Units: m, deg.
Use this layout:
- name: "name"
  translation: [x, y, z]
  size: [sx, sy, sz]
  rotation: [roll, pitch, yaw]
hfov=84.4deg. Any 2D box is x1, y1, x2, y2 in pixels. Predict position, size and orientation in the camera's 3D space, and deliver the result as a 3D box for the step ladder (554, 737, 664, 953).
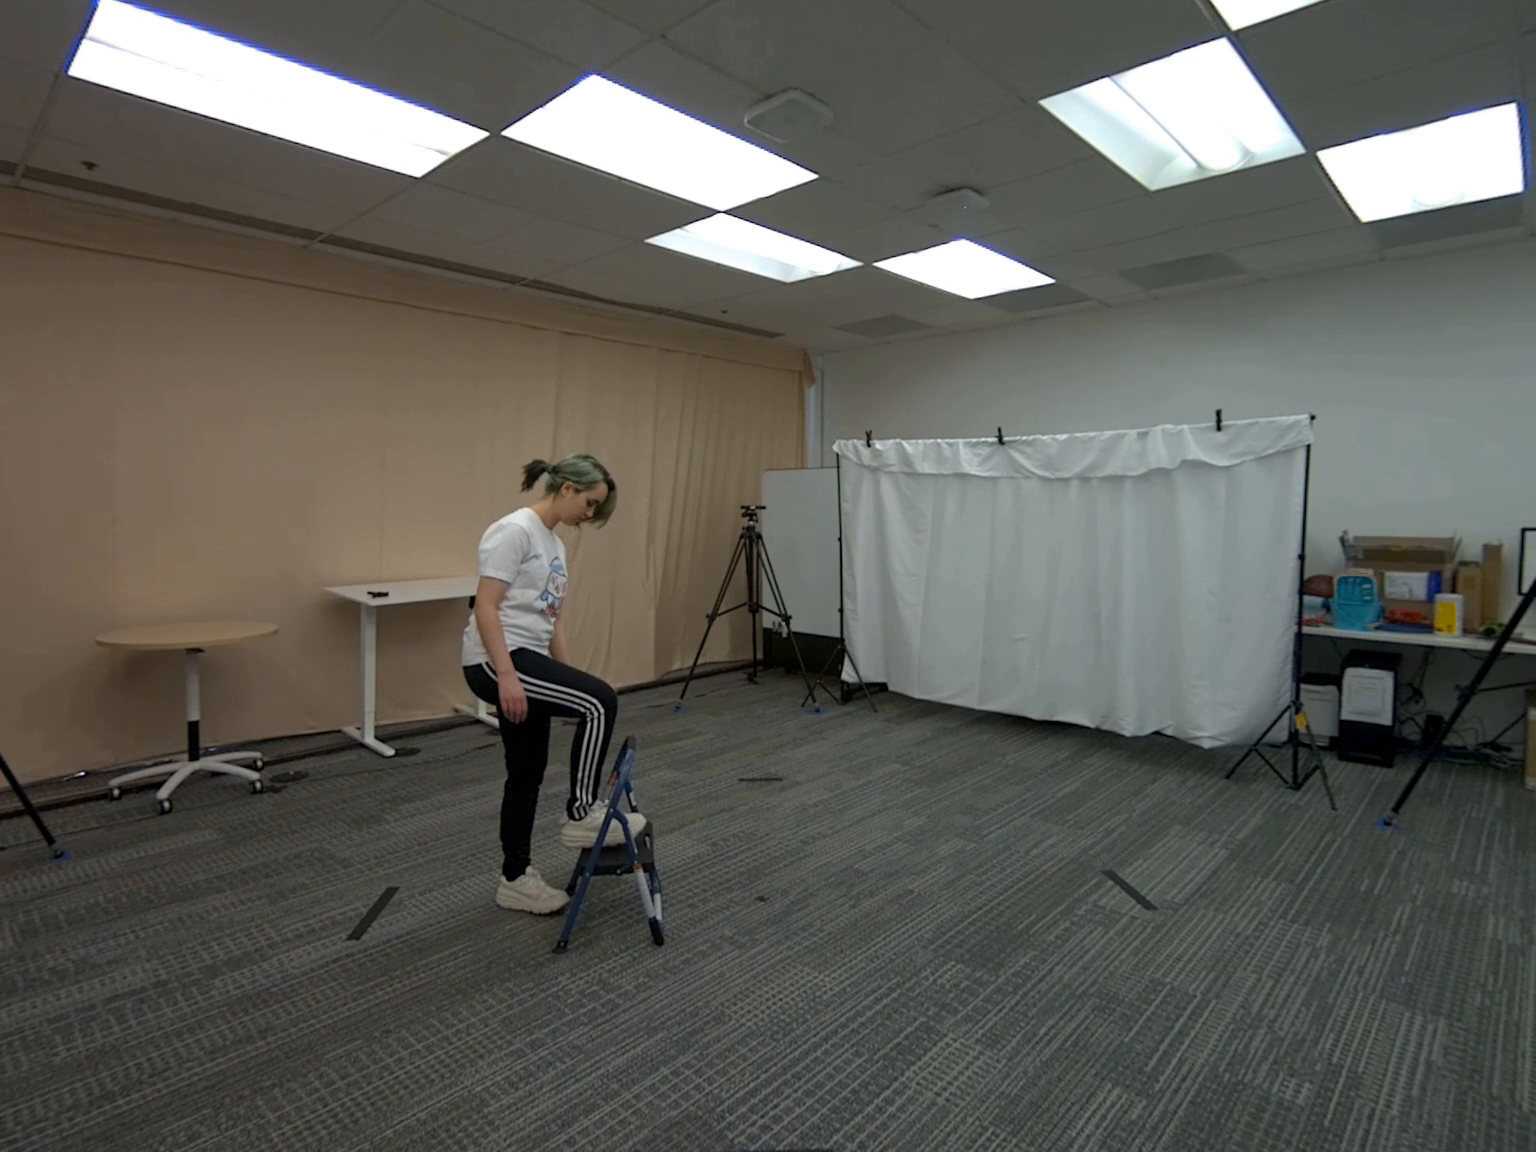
- name: "step ladder"
  translation: [-0.528, 0.863, 2.831]
  size: [0.347, 0.605, 0.434]
  rotation: [-1, 3, -7]
